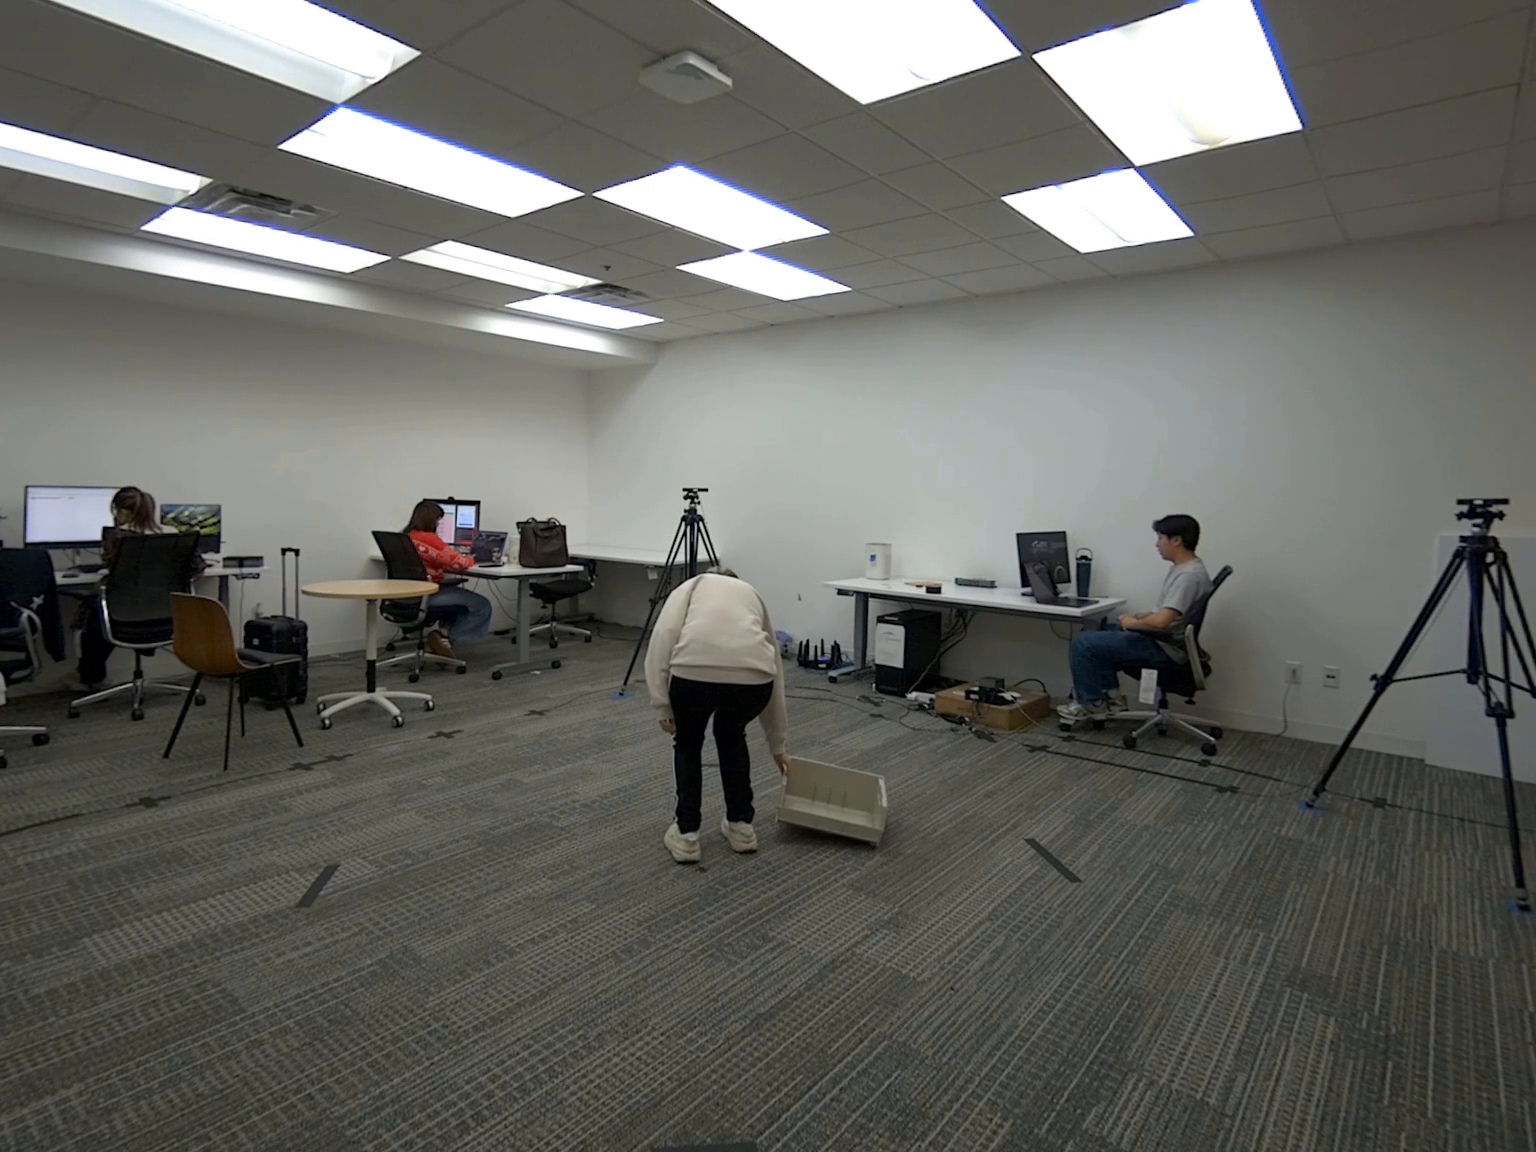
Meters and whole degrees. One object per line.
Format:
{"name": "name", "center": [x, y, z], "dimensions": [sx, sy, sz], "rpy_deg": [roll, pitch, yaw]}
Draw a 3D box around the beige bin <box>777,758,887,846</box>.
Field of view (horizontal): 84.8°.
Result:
{"name": "beige bin", "center": [0.253, 0.924, 3.503], "dimensions": [0.426, 0.188, 0.375], "rpy_deg": [10, 5, 6]}
